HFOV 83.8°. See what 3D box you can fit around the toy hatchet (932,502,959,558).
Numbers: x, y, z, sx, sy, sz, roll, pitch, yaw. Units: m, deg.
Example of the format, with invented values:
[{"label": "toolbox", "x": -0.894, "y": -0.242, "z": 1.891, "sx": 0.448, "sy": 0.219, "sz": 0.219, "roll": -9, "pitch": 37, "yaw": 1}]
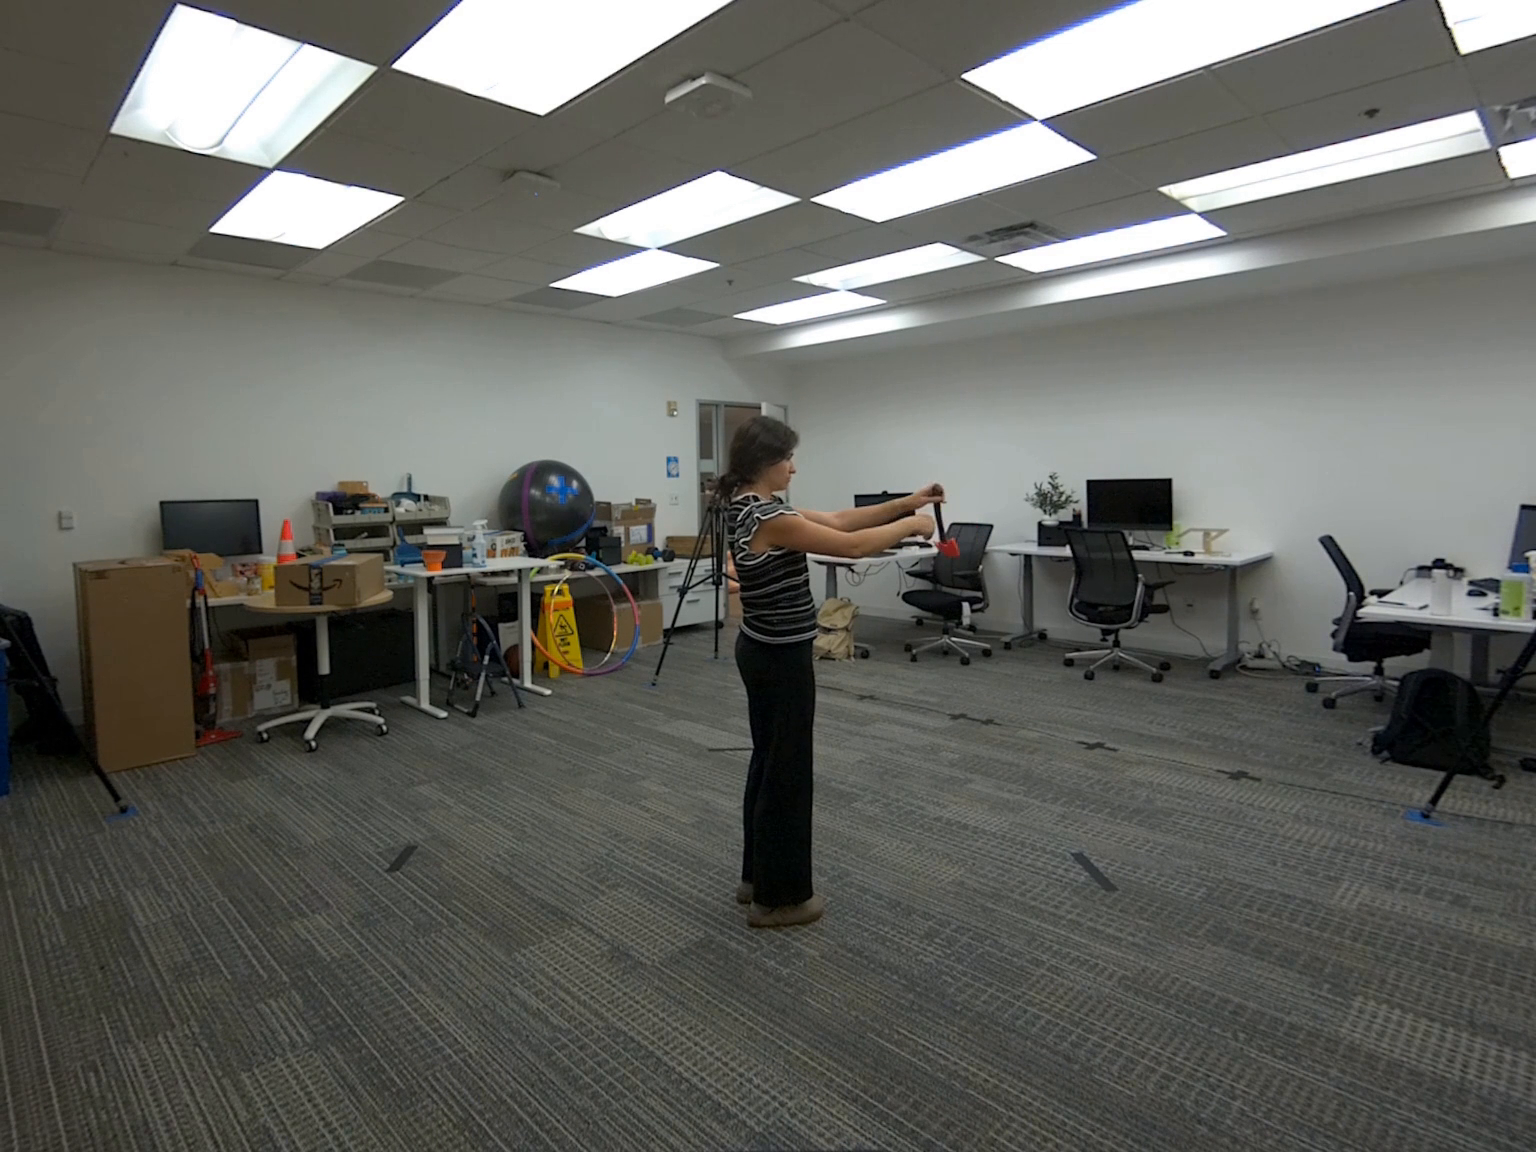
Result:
[{"label": "toy hatchet", "x": 0.585, "y": -0.162, "z": 2.754, "sx": 0.029, "sy": 0.136, "sz": 0.262, "roll": -24, "pitch": -34, "yaw": -12}]
